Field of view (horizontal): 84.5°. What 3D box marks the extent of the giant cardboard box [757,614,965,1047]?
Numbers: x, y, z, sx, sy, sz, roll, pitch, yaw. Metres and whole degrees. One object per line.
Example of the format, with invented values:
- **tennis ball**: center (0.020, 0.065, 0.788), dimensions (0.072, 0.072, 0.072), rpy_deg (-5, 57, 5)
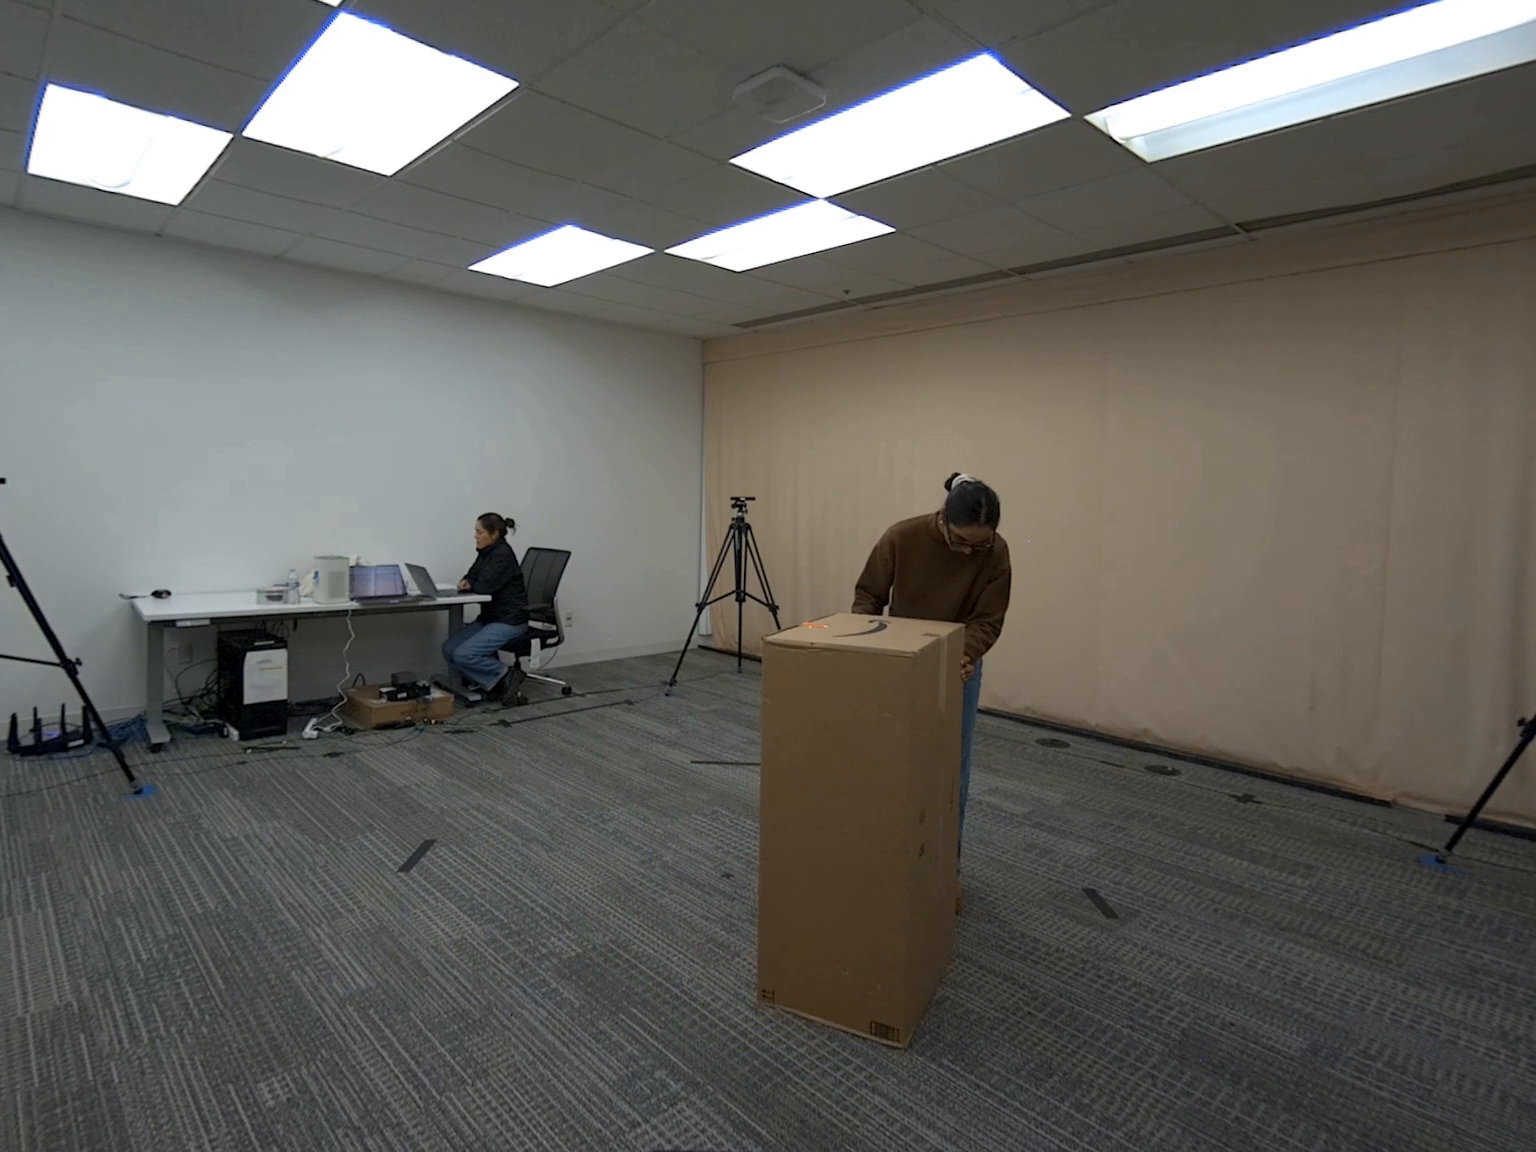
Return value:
- **giant cardboard box**: center (0.274, 0.667, 2.450), dimensions (0.435, 1.023, 0.567), rpy_deg (2, 4, 27)
